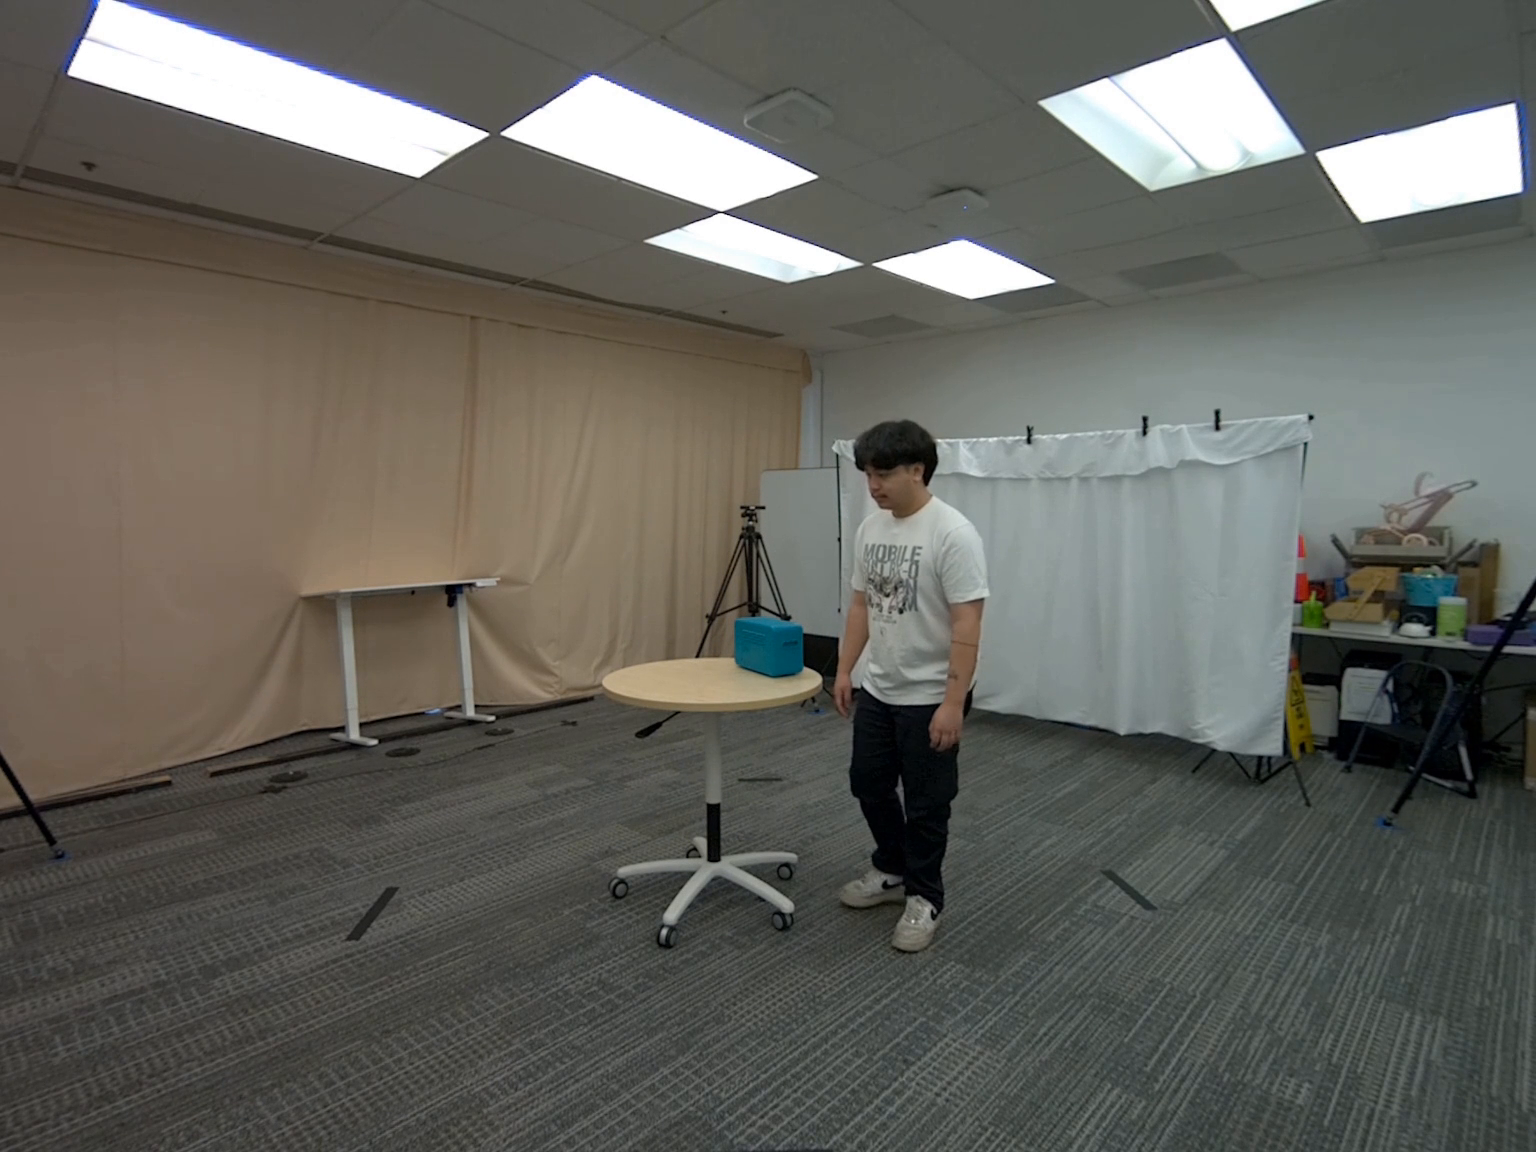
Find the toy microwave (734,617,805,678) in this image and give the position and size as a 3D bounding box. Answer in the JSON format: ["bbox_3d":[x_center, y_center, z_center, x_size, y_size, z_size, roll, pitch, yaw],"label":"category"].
[{"bbox_3d":[0.009,0.253,3.058,0.148,0.184,0.294,-2,5,-30],"label":"toy microwave"}]
